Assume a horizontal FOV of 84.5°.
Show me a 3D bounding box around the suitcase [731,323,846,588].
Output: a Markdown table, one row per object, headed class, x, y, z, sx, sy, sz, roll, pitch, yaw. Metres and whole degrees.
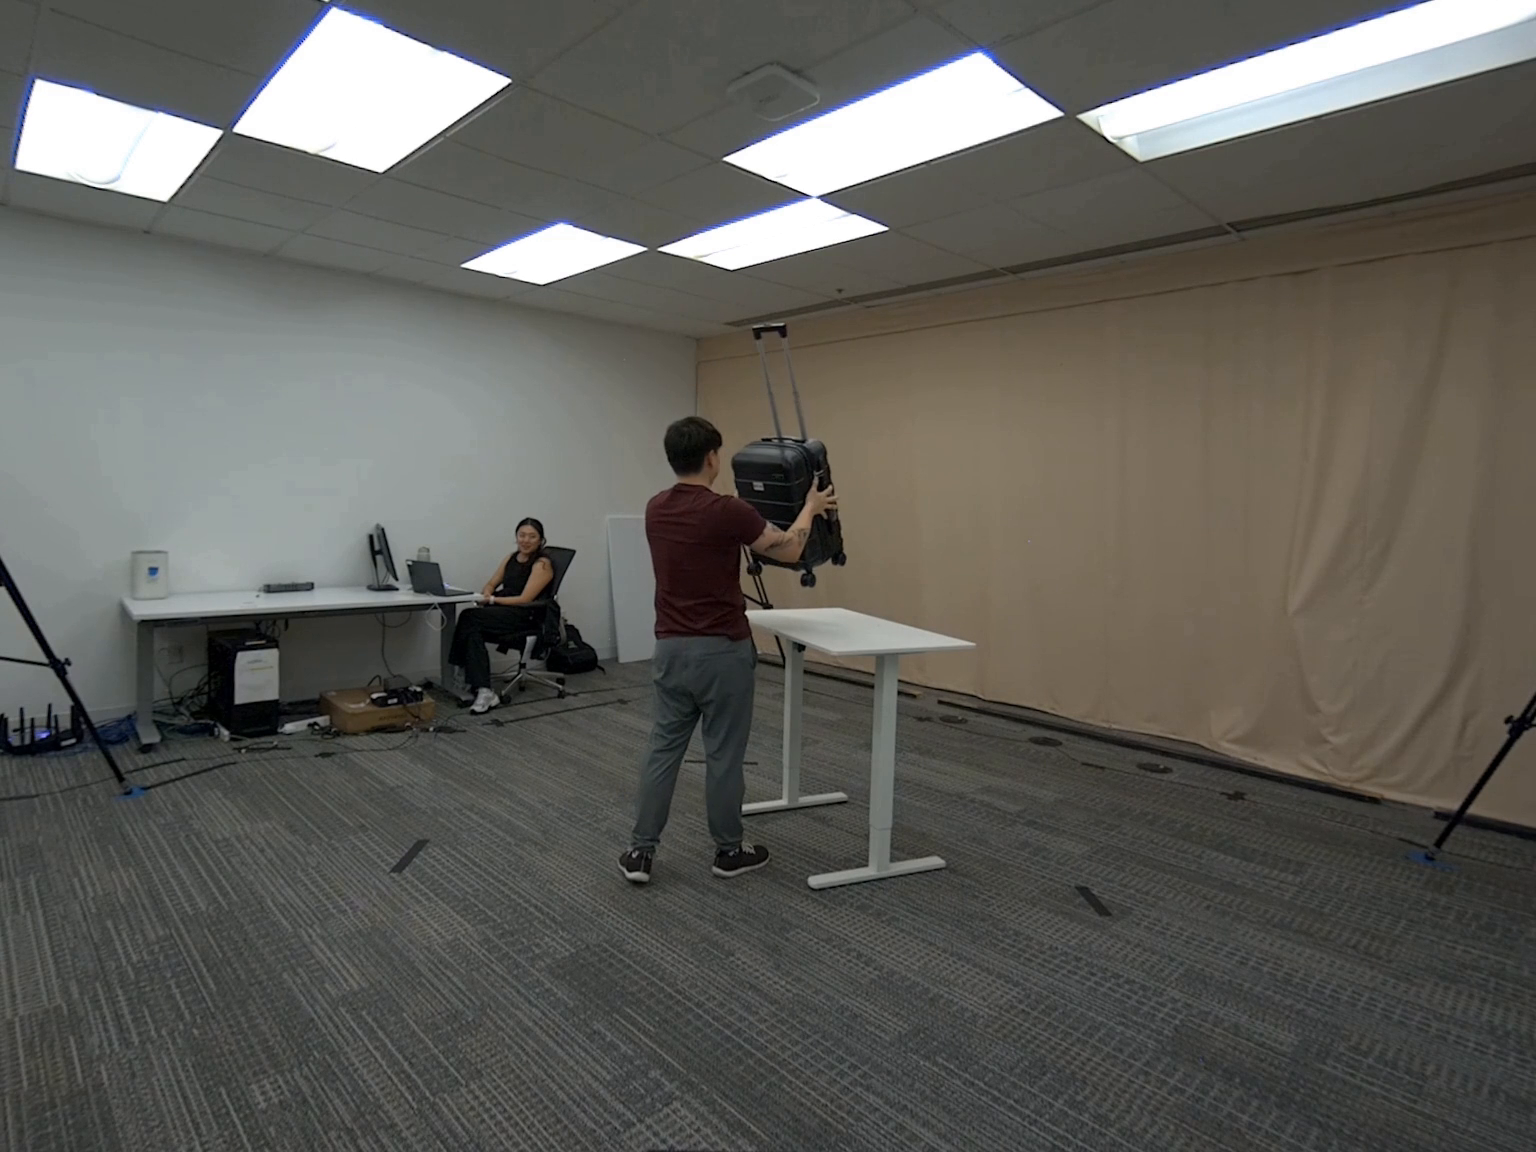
| class | x | y | z | sx | sy | sz | roll | pitch | yaw |
| --- | --- | --- | --- | --- | --- | --- | --- | --- | --- |
| suitcase | 0.030 | -0.459 | 3.298 | 0.394 | 0.960 | 0.255 | 10 | 32 | 44 |
